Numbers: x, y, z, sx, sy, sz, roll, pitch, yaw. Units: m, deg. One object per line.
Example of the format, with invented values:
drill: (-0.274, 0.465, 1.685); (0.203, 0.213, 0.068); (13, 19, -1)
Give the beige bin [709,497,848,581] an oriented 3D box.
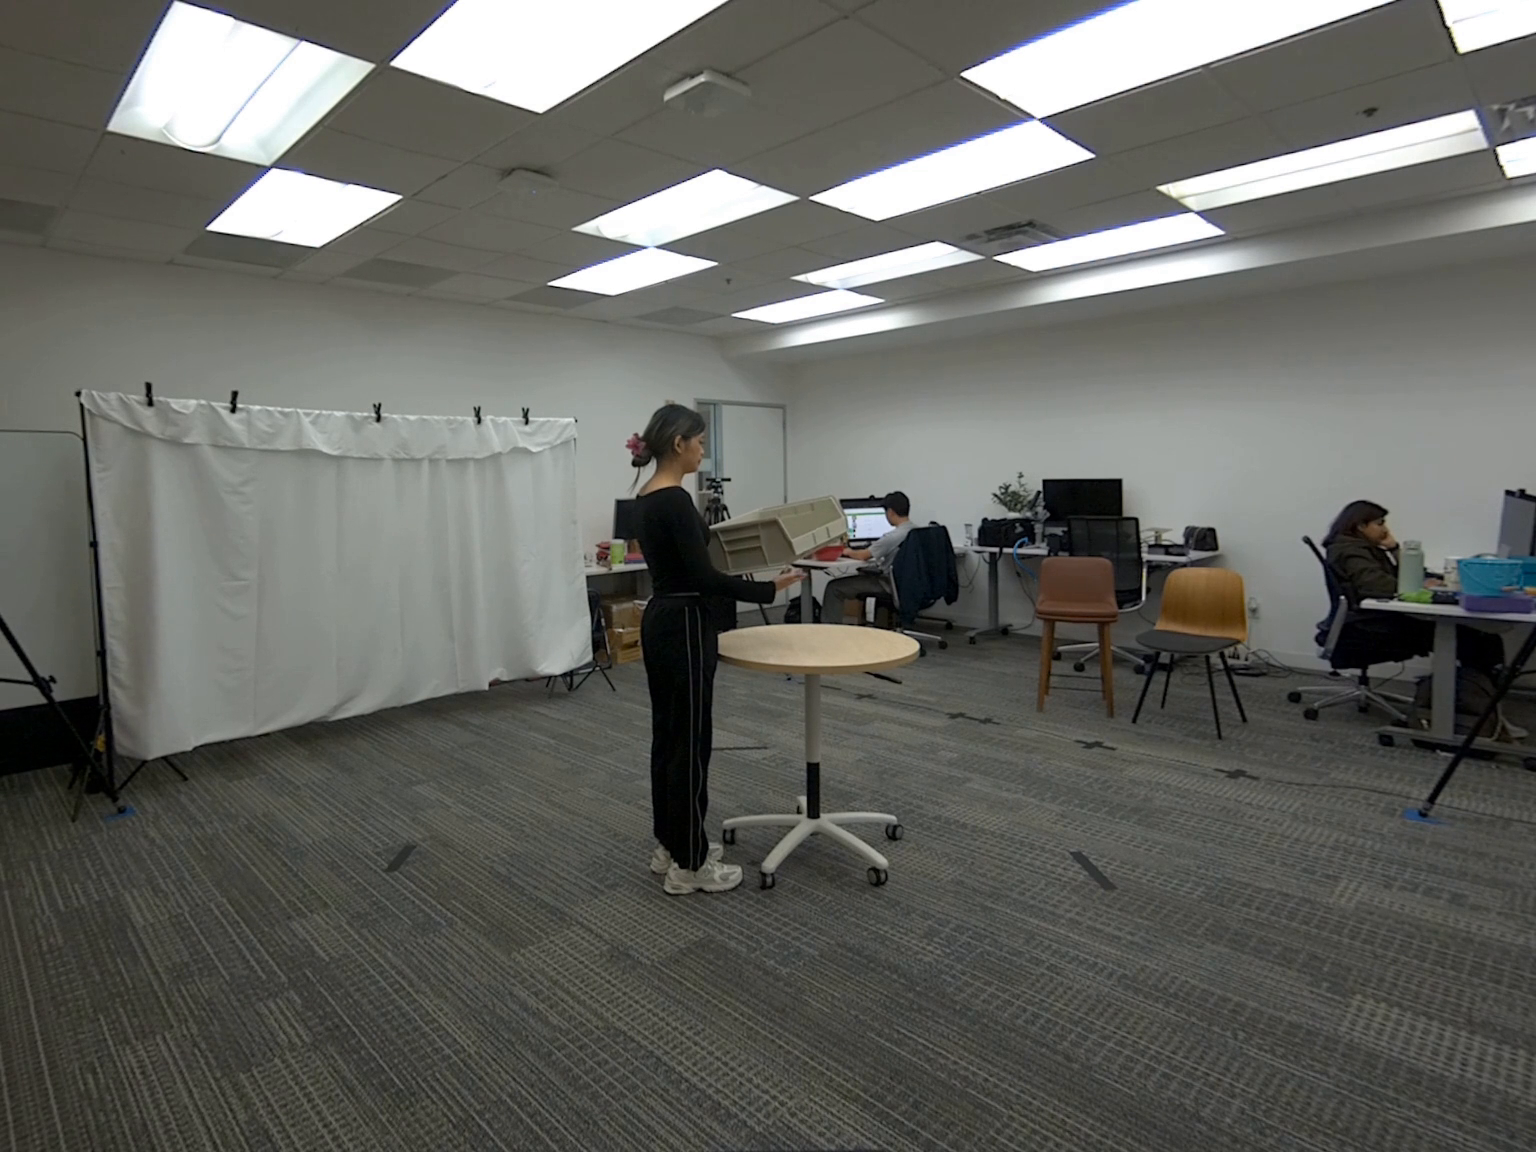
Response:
beige bin: (0.039, -0.147, 3.125); (0.386, 0.188, 0.416); (-10, 9, 36)
